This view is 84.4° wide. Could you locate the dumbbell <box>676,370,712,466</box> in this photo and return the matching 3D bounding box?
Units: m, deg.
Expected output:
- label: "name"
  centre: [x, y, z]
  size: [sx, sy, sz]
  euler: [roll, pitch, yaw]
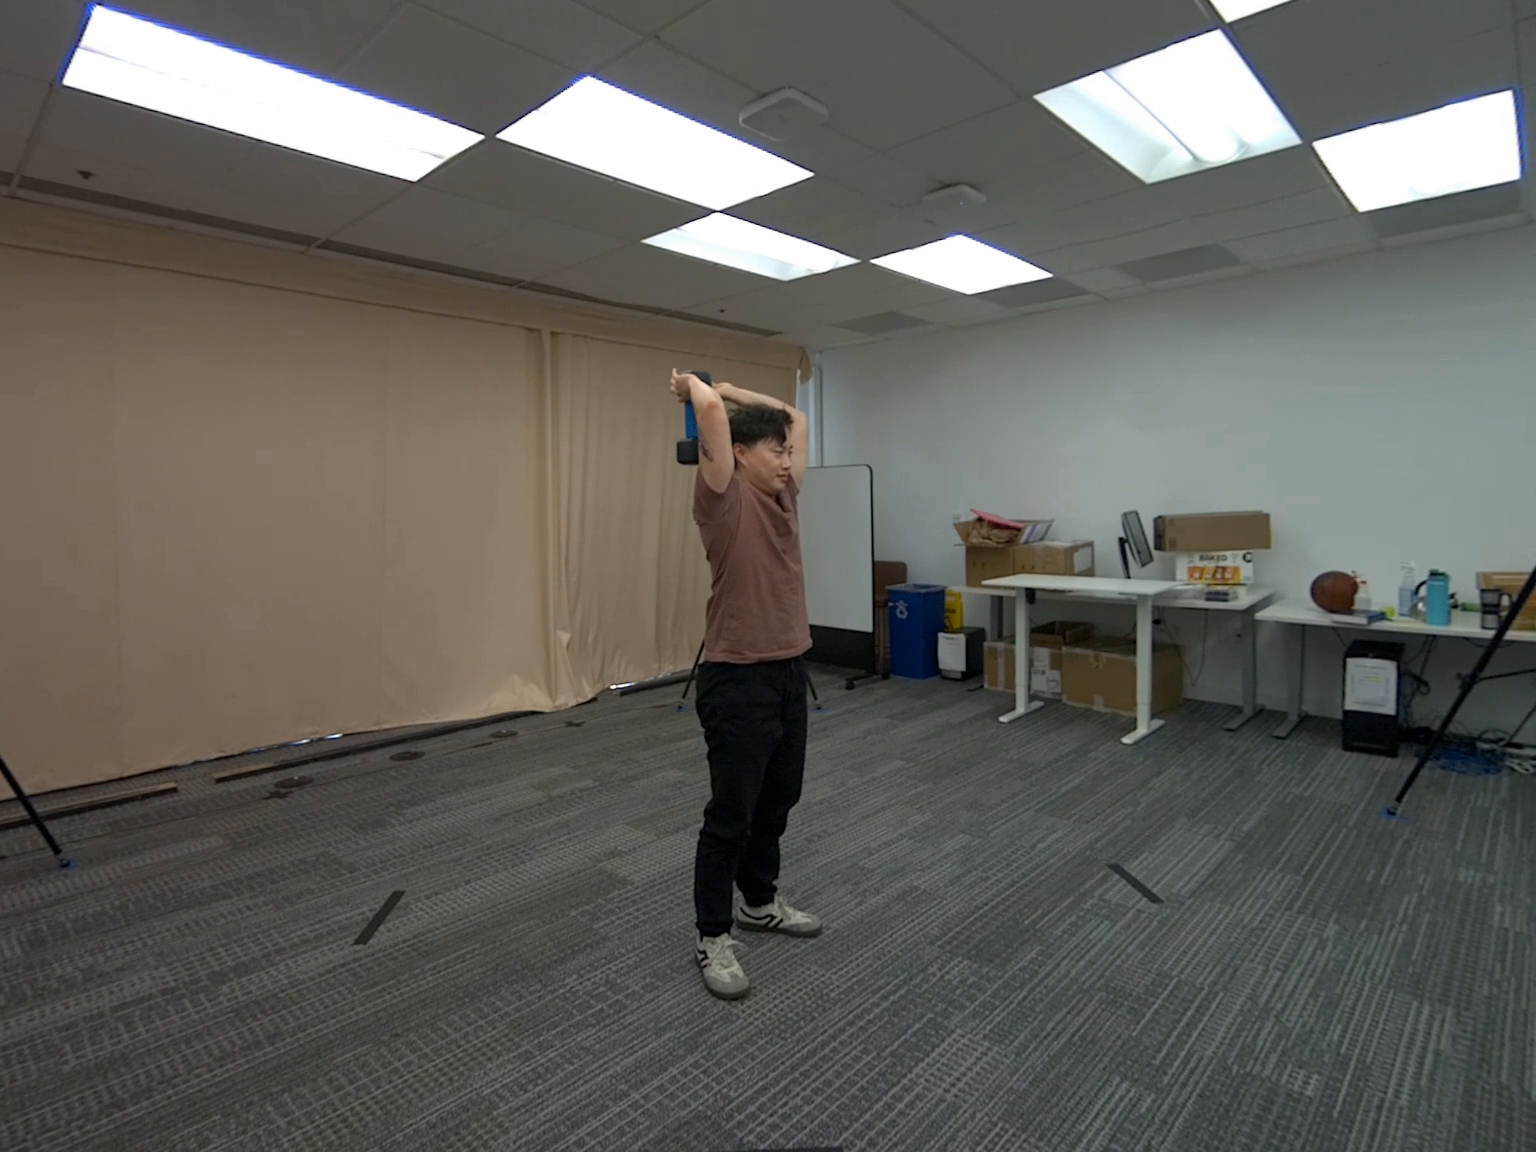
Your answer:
- label: "dumbbell"
  centre: [-0.230, -0.501, 2.673]
  size: [0.127, 0.293, 0.105]
  euler: [4, 4, 40]
